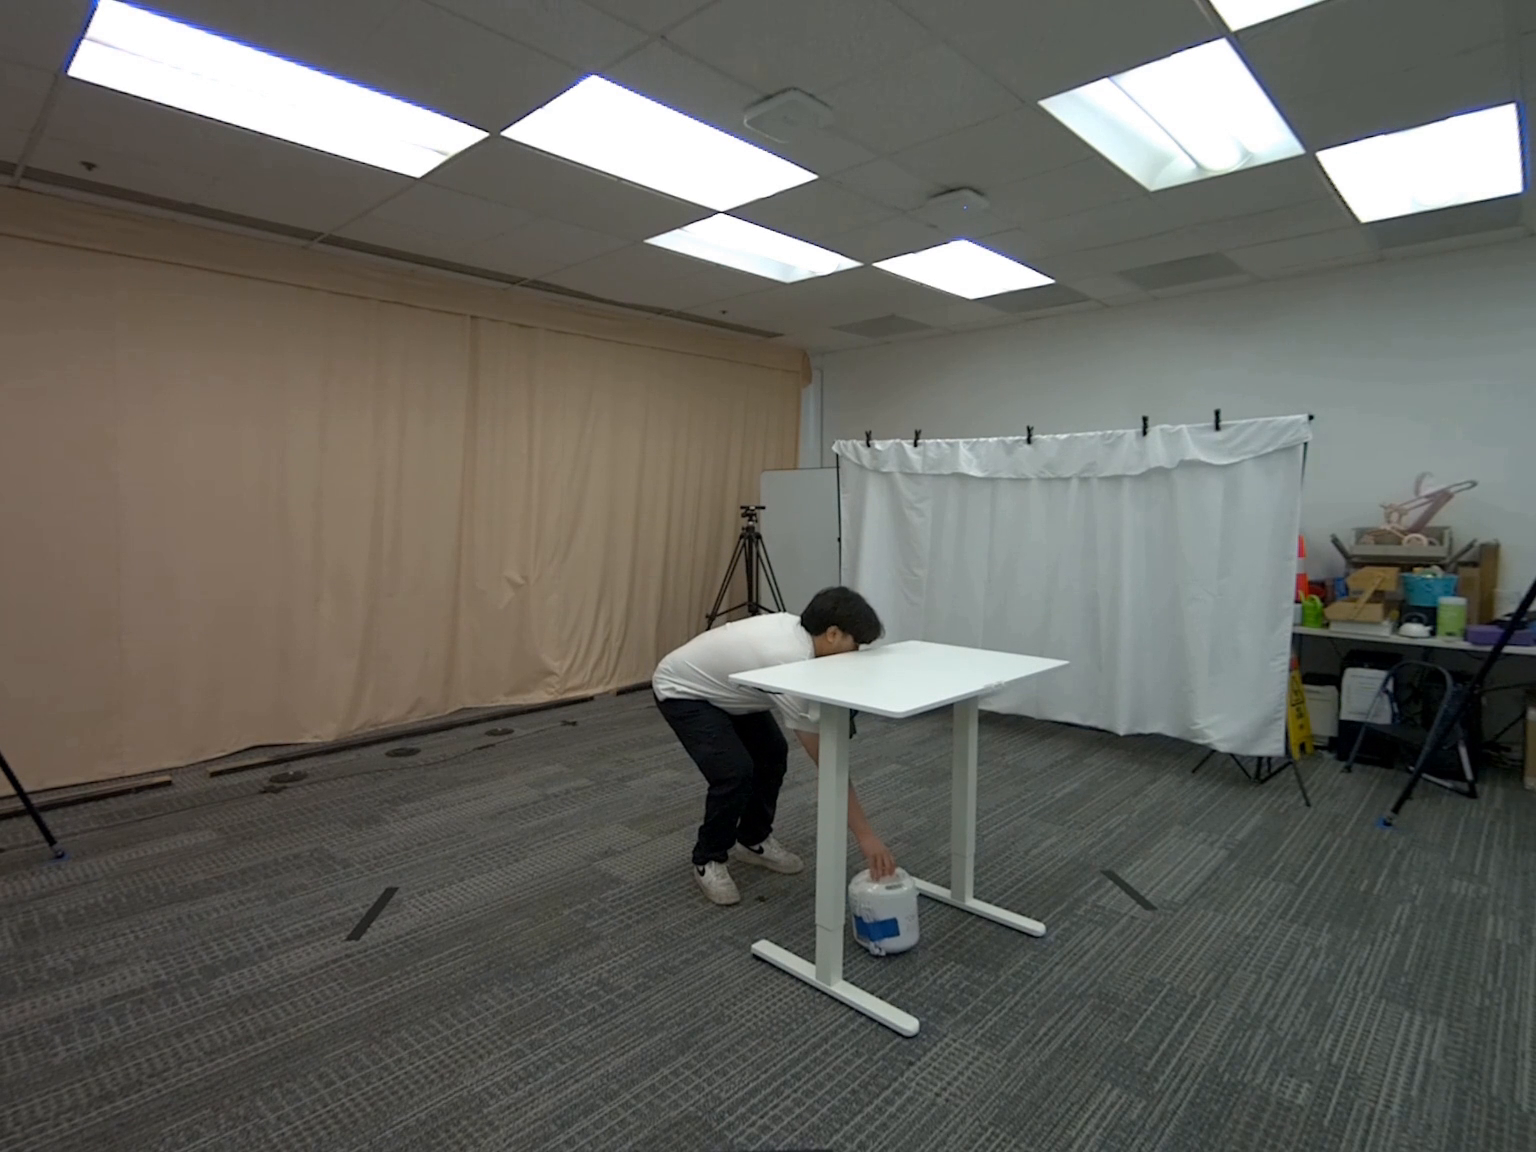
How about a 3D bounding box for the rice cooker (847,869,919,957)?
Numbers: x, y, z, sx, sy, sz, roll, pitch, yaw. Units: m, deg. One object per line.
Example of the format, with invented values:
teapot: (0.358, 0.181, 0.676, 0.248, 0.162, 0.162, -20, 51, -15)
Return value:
rice cooker: (0.375, 1.048, 2.676, 0.217, 0.233, 0.220, -2, -1, -15)
